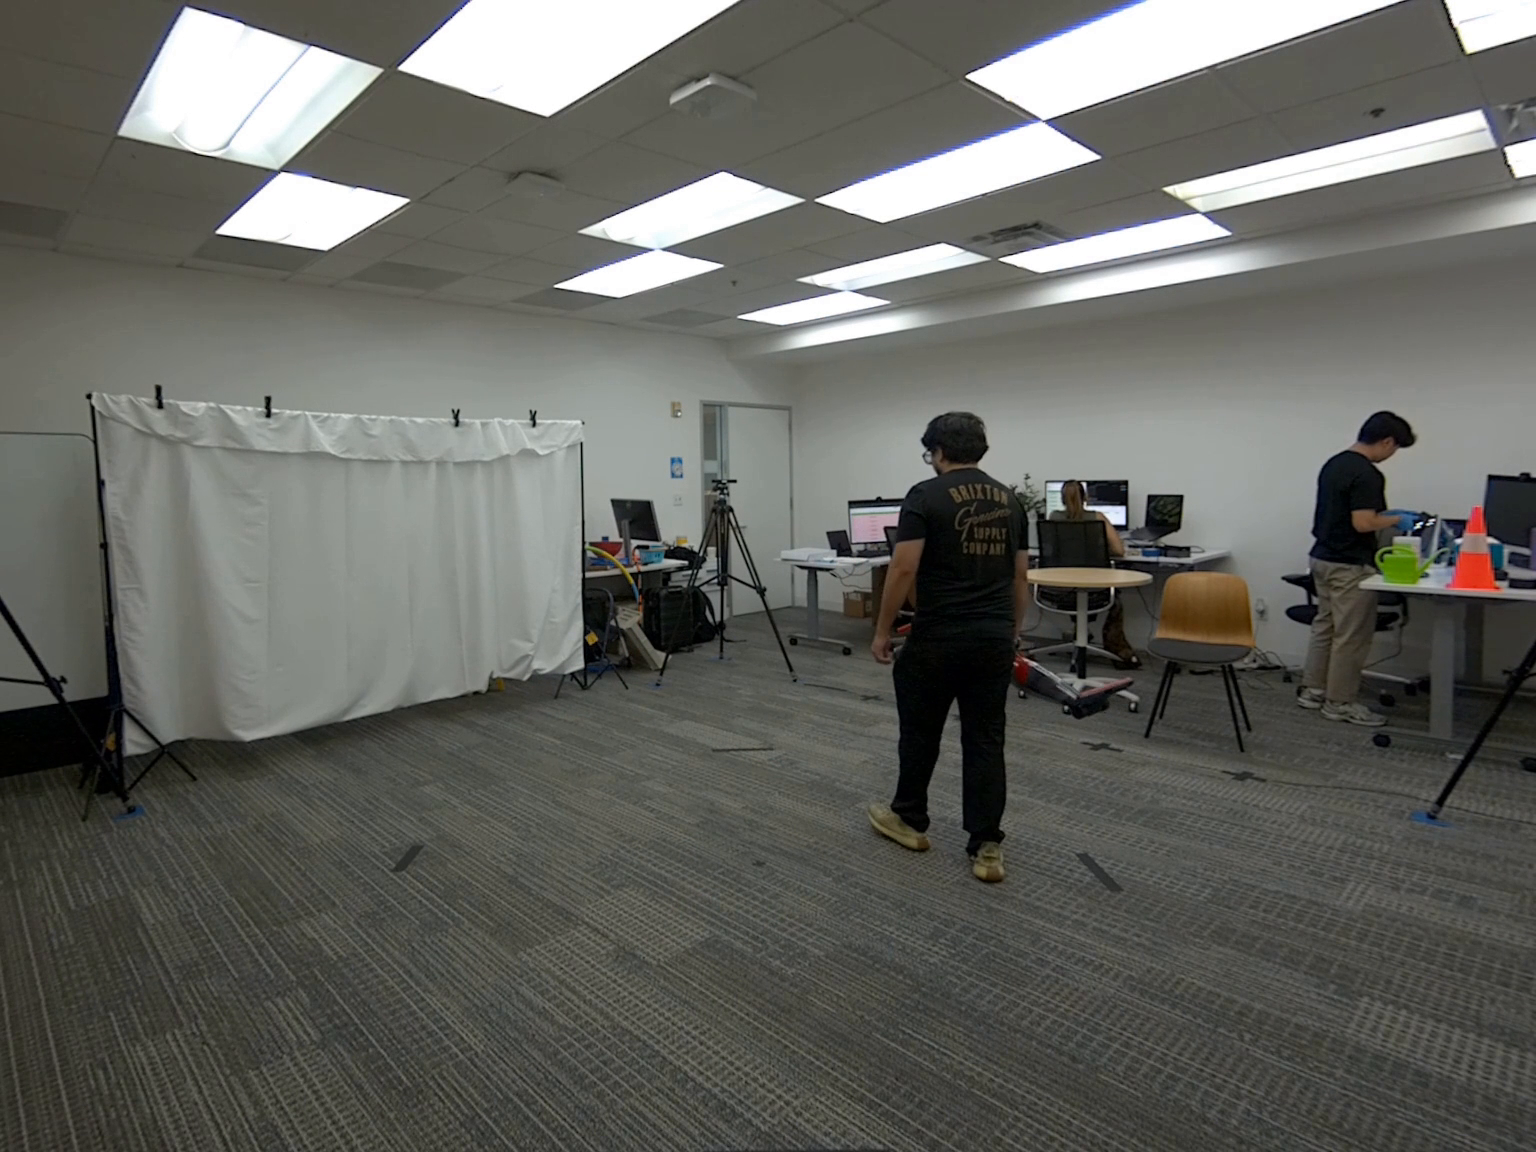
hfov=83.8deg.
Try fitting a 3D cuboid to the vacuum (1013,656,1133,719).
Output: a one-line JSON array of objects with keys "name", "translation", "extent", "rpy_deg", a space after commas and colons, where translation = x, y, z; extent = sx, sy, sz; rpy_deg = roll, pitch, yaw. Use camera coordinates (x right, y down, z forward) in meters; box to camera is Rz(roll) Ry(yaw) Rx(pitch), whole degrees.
[{"name": "vacuum", "translation": [0.856, 0.330, 3.351], "extent": [0.248, 0.142, 1.082], "rpy_deg": [-13, 16, -27]}]
